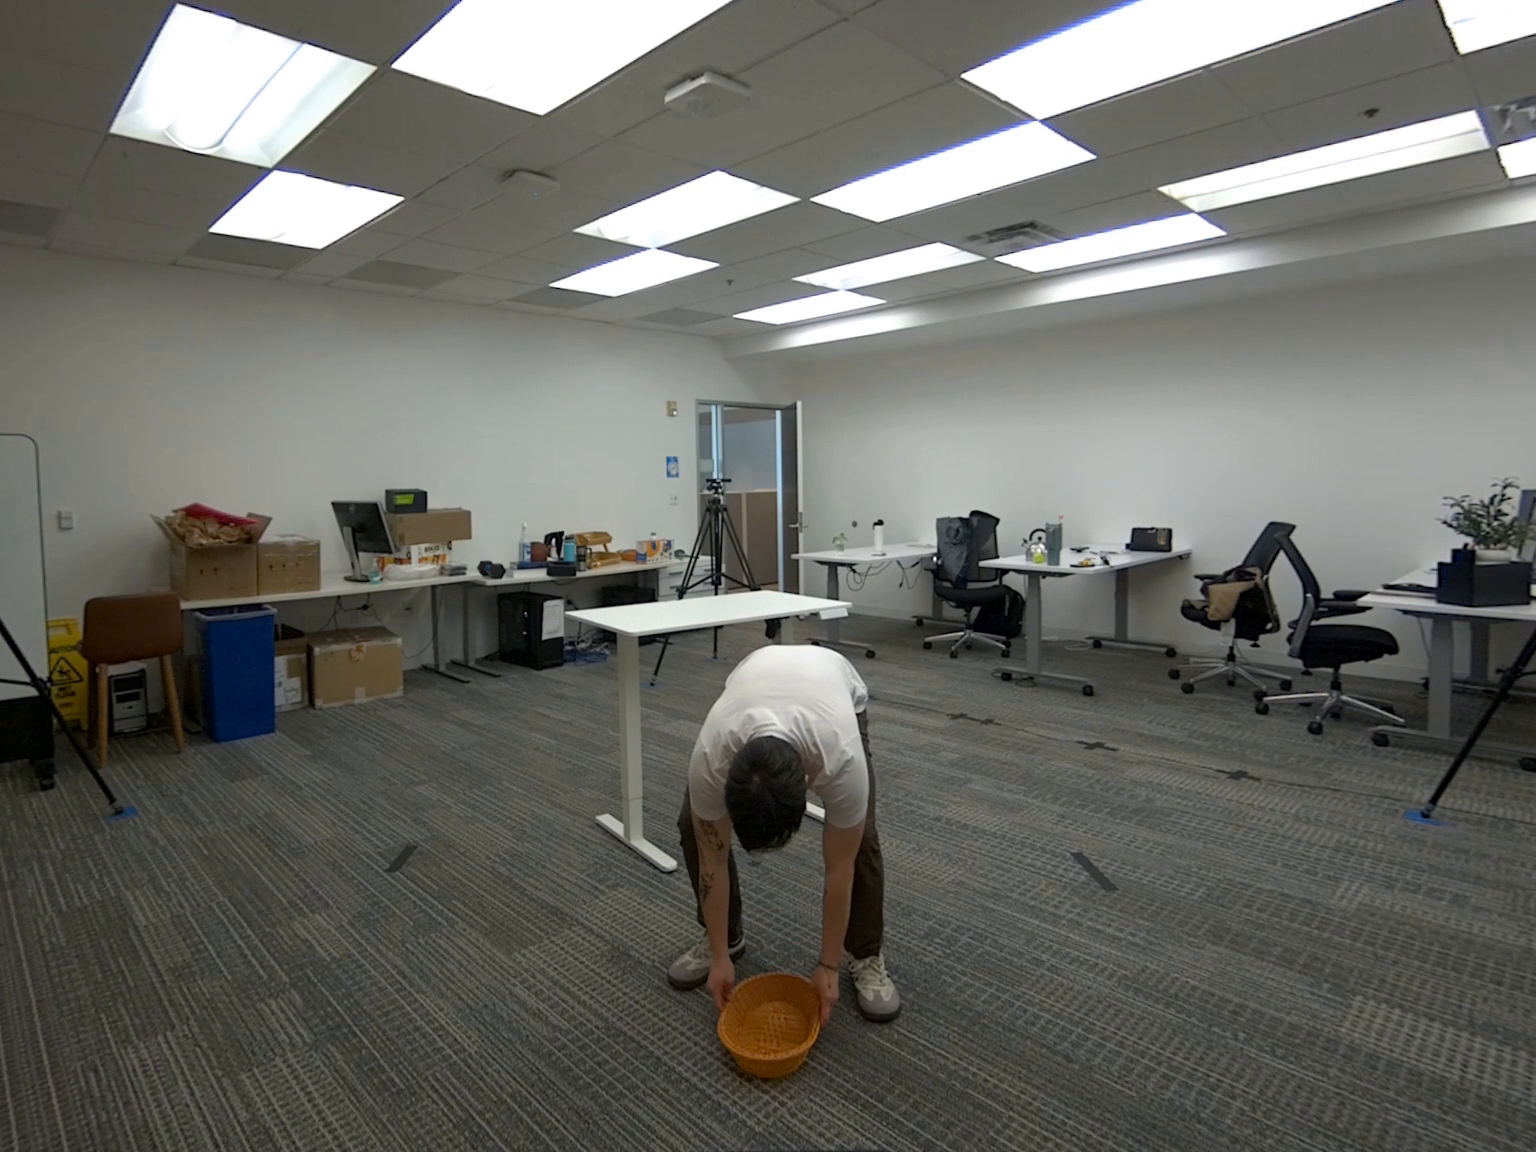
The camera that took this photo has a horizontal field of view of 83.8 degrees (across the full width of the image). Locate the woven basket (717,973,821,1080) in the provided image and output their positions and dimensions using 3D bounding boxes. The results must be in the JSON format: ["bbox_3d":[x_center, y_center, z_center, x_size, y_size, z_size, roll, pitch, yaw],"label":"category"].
[{"bbox_3d":[0.015,1.118,2.132,0.255,0.073,0.348,0,7,12],"label":"woven basket"}]
